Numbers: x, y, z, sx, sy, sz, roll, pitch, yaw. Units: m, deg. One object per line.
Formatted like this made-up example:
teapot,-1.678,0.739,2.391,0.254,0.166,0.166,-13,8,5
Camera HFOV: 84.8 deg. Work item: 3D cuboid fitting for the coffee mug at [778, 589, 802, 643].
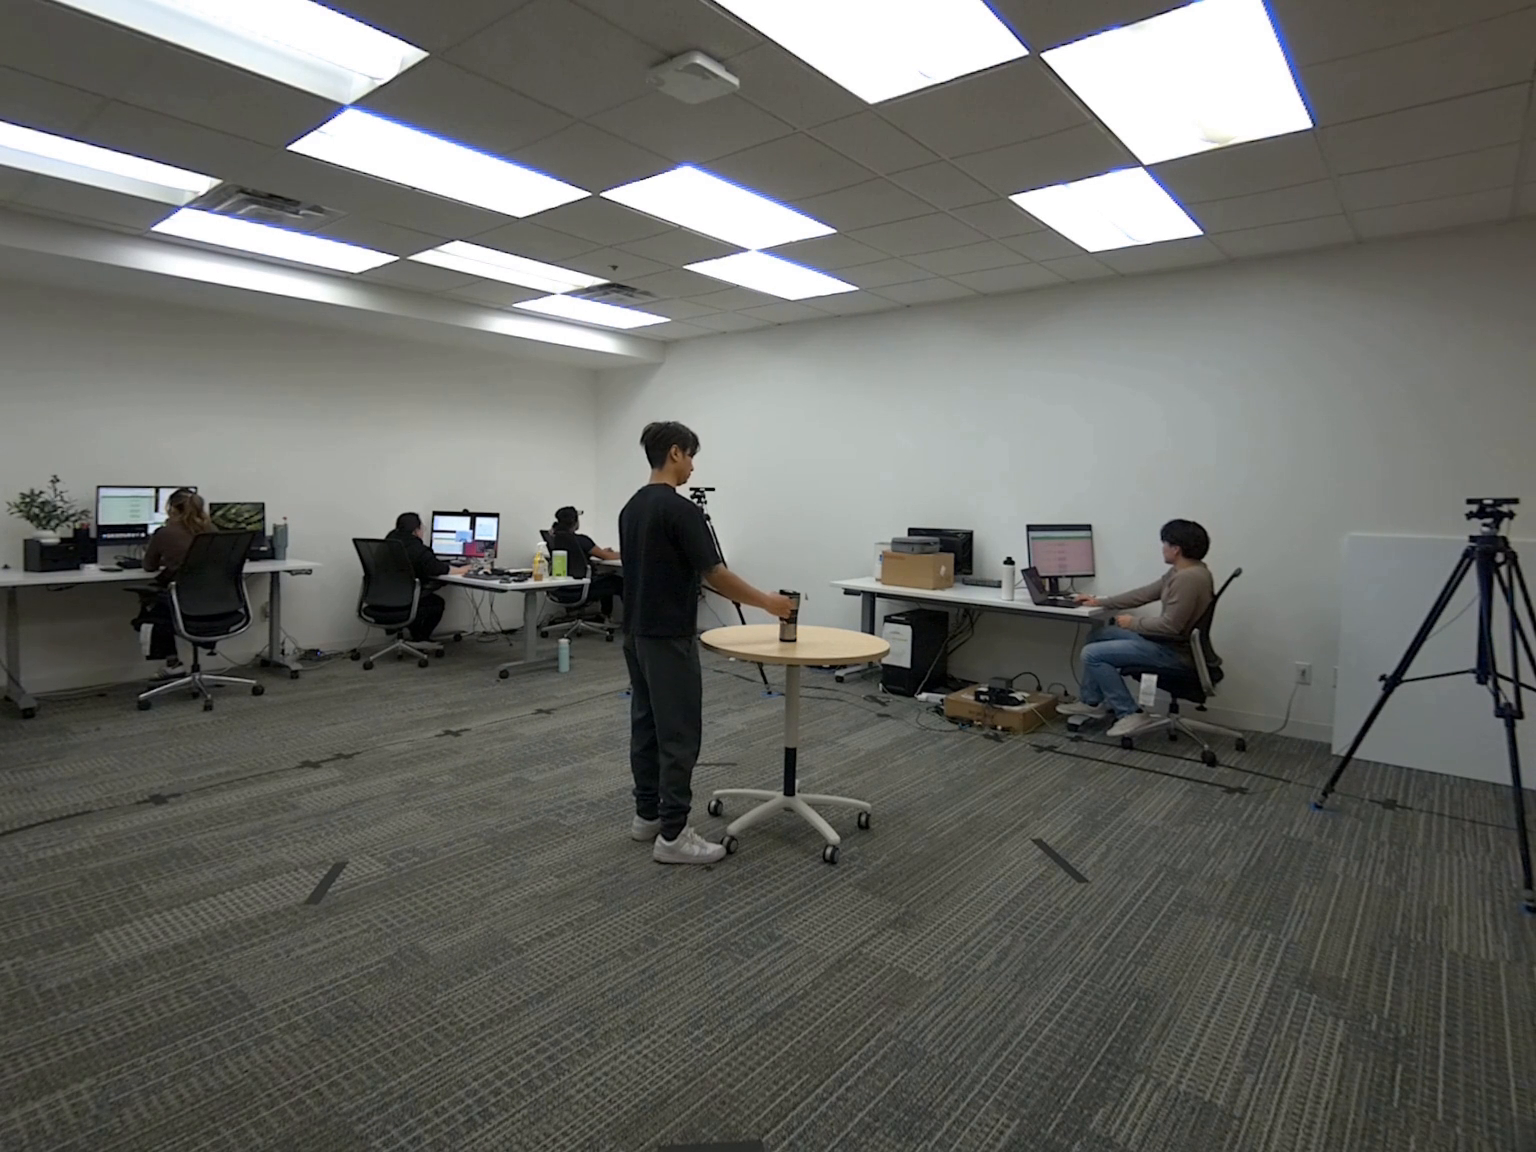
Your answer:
coffee mug,0.059,0.162,3.409,0.118,0.202,0.091,2,6,-40
